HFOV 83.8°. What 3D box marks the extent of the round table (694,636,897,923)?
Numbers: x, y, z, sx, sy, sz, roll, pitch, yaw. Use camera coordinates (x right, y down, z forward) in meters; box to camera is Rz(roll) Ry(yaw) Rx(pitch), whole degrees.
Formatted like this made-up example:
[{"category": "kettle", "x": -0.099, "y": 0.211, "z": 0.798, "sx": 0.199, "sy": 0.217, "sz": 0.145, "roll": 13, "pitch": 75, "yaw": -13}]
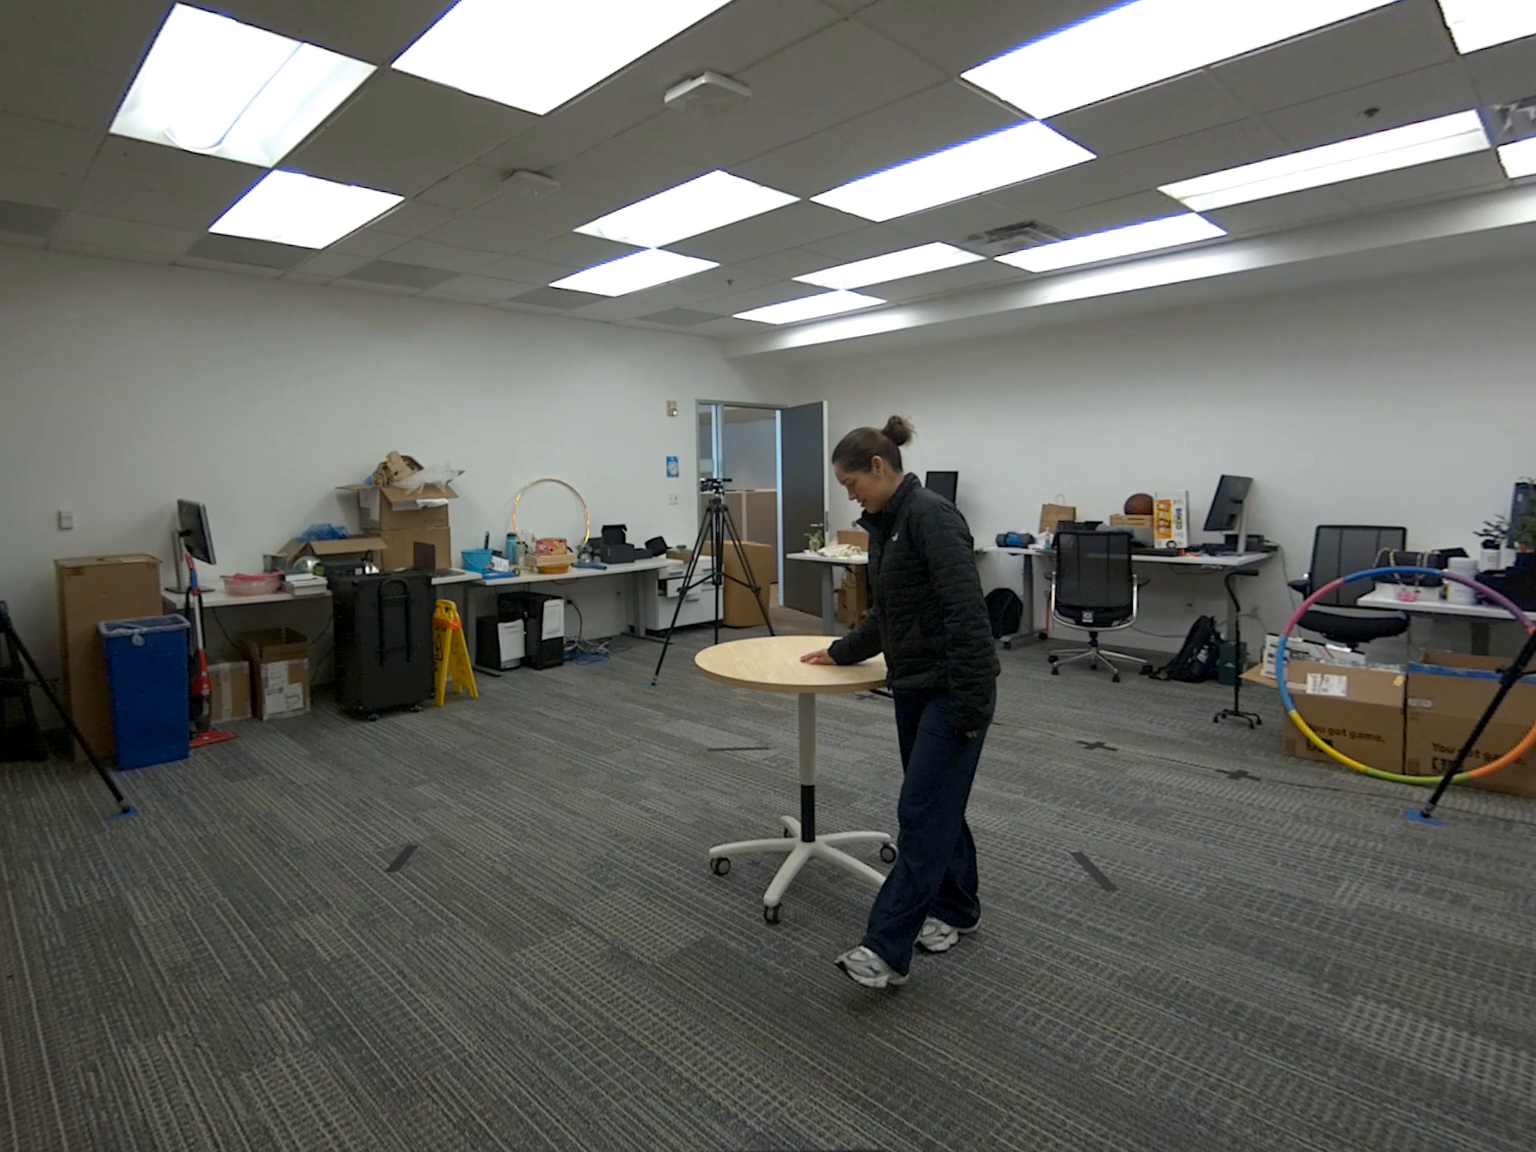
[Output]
[{"category": "round table", "x": 0.128, "y": 0.664, "z": 2.955, "sx": 0.784, "sy": 0.783, "sz": 0.789, "roll": -1, "pitch": 5, "yaw": -2}]
